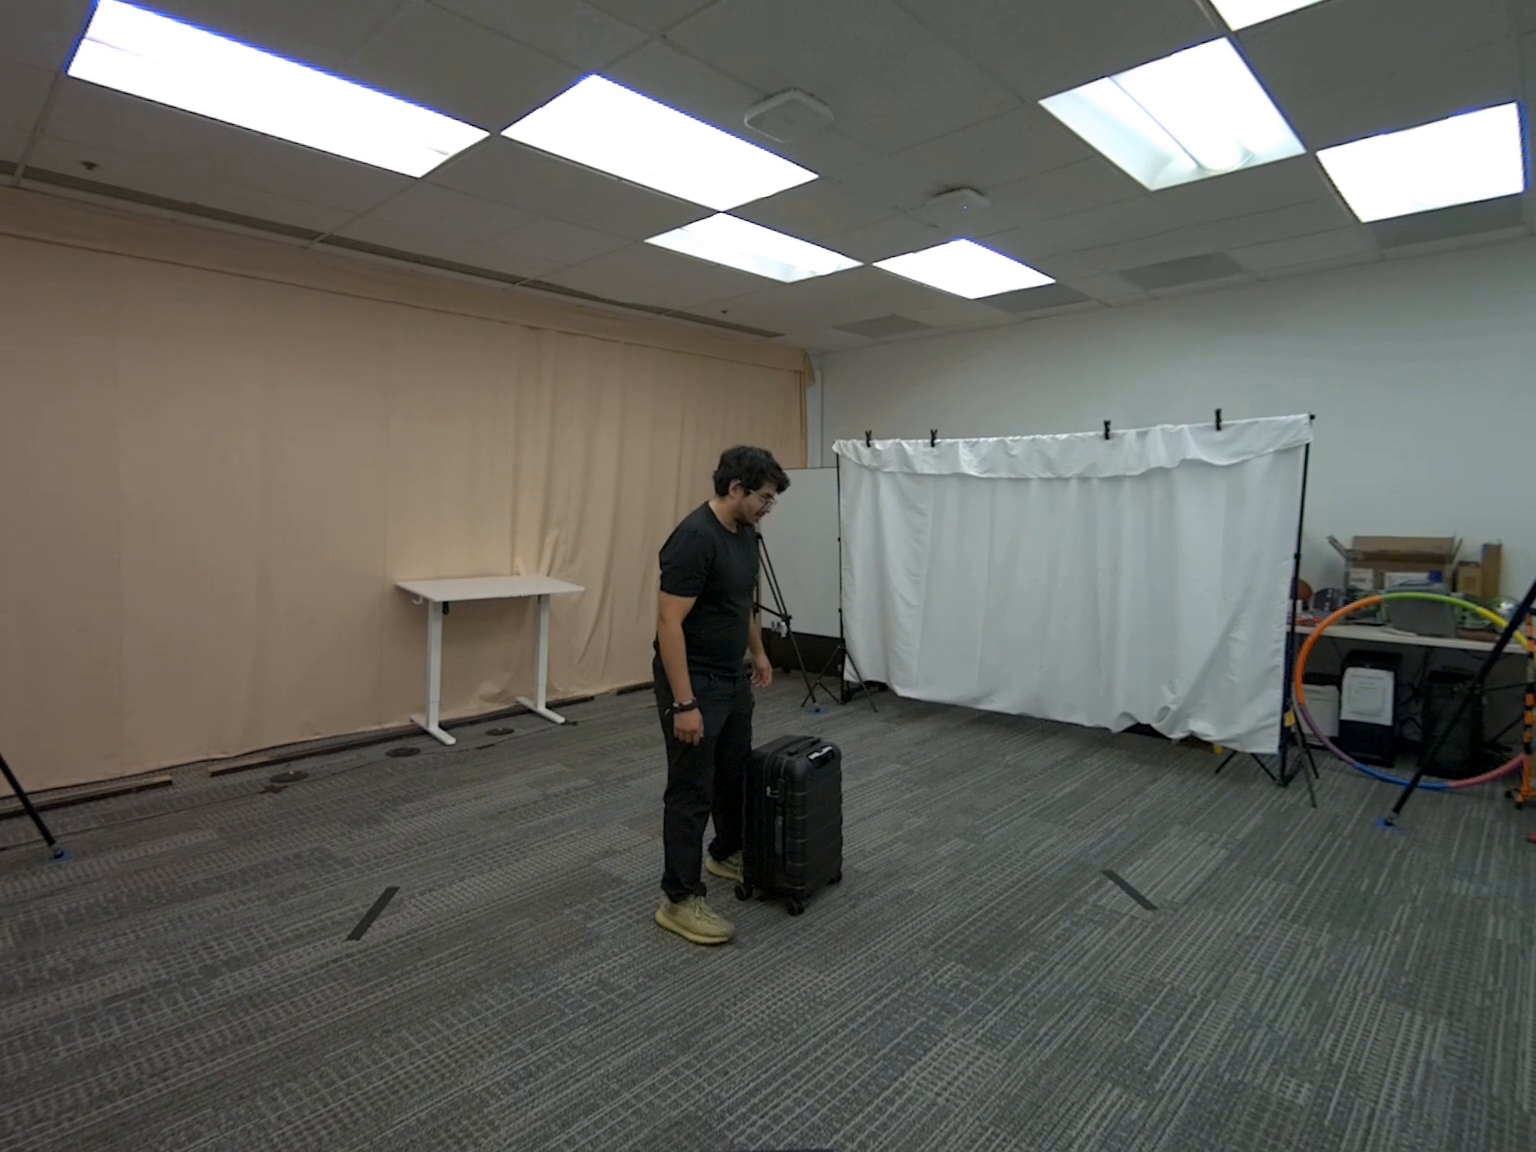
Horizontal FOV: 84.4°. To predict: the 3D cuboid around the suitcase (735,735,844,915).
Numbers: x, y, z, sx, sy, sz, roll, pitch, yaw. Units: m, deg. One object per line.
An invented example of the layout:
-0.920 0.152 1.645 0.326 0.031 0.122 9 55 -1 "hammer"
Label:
0.093 0.863 3.014 0.256 0.548 0.365 3 5 31 "suitcase"
